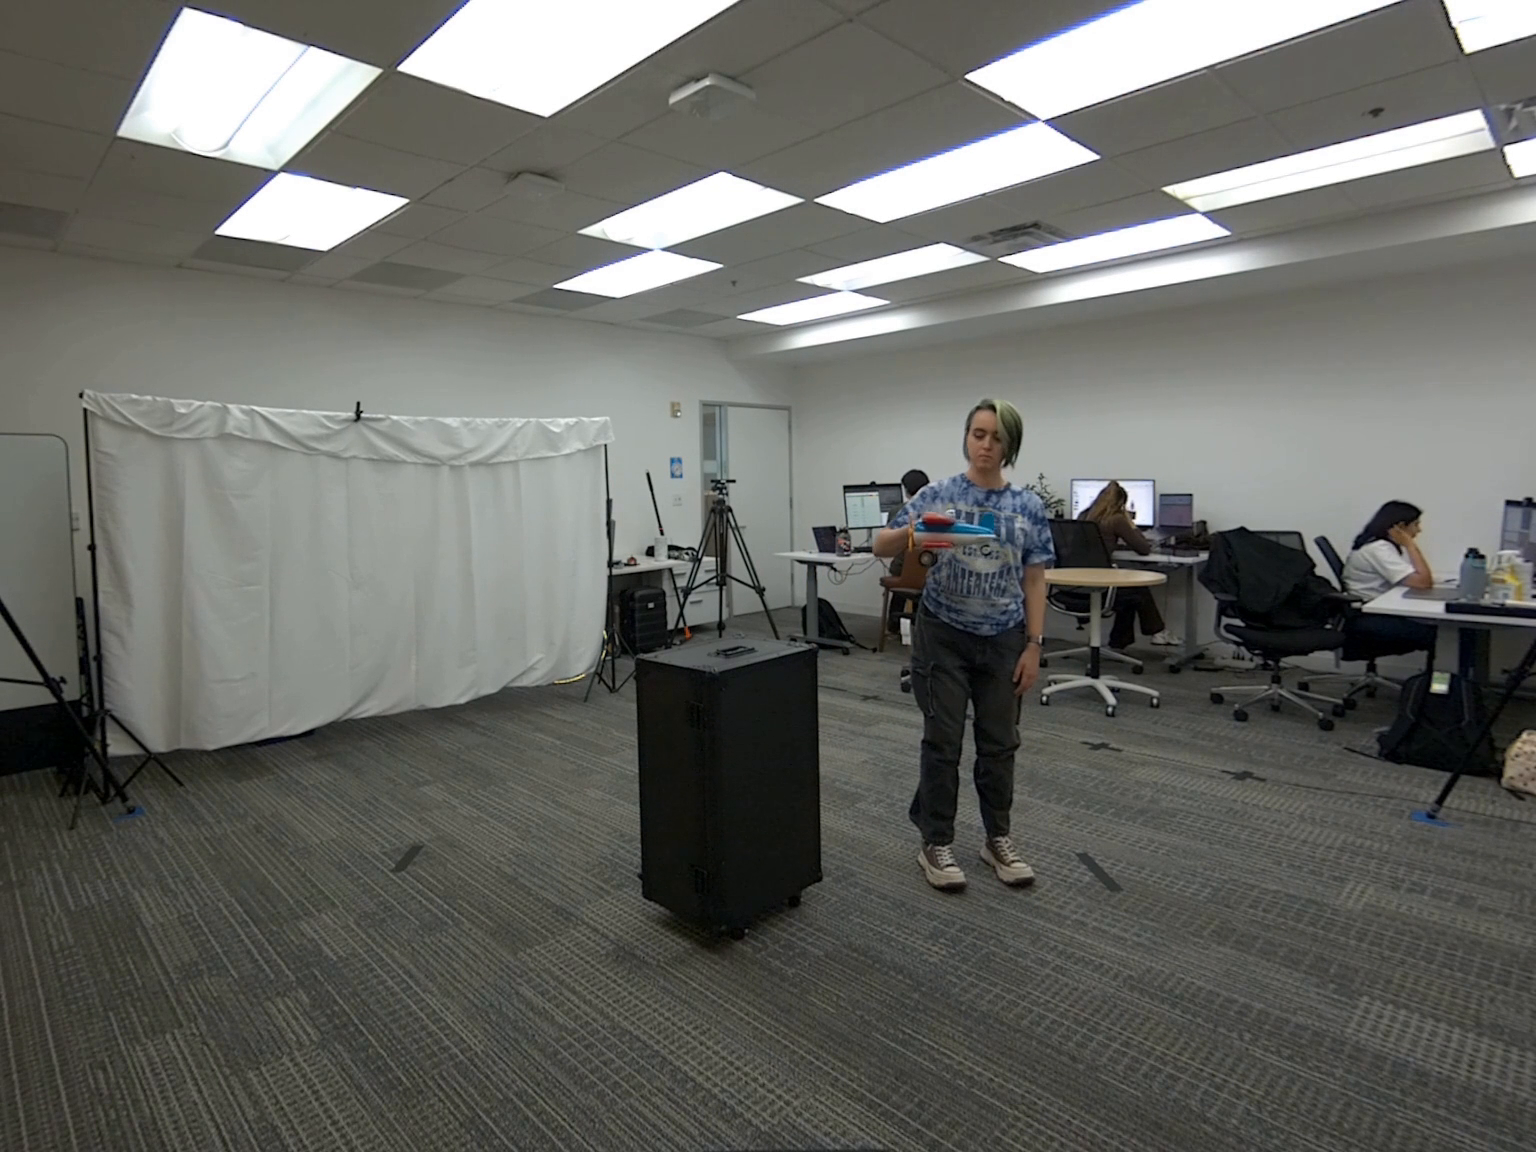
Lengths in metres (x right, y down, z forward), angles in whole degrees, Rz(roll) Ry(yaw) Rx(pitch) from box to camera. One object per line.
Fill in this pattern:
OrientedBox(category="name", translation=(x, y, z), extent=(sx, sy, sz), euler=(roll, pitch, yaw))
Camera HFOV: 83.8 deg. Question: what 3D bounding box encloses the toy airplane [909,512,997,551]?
OrientedBox(category="toy airplane", translation=(0.580, -0.117, 2.662), extent=(0.257, 0.157, 0.252), euler=(-12, -3, -13))
